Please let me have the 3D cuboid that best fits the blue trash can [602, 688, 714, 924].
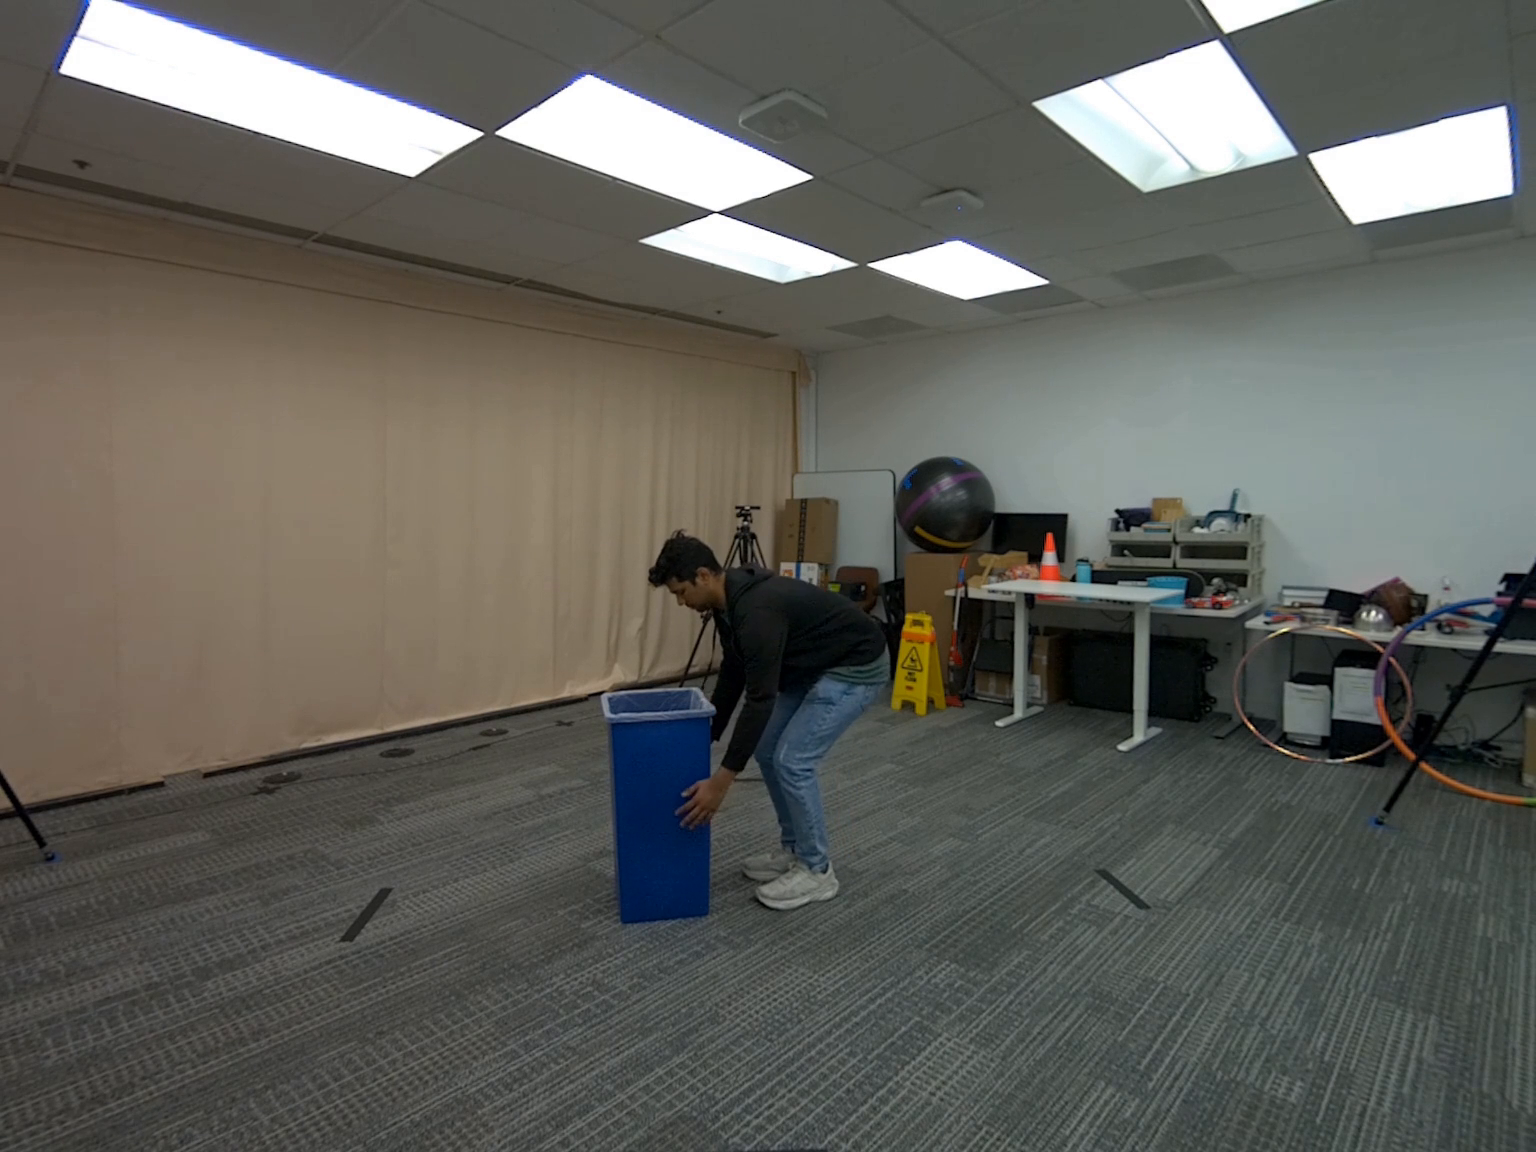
[{"bbox_3d":[-0.392,0.797,2.961,0.370,0.712,0.383,-2,3,-12],"label":"blue trash can"}]
